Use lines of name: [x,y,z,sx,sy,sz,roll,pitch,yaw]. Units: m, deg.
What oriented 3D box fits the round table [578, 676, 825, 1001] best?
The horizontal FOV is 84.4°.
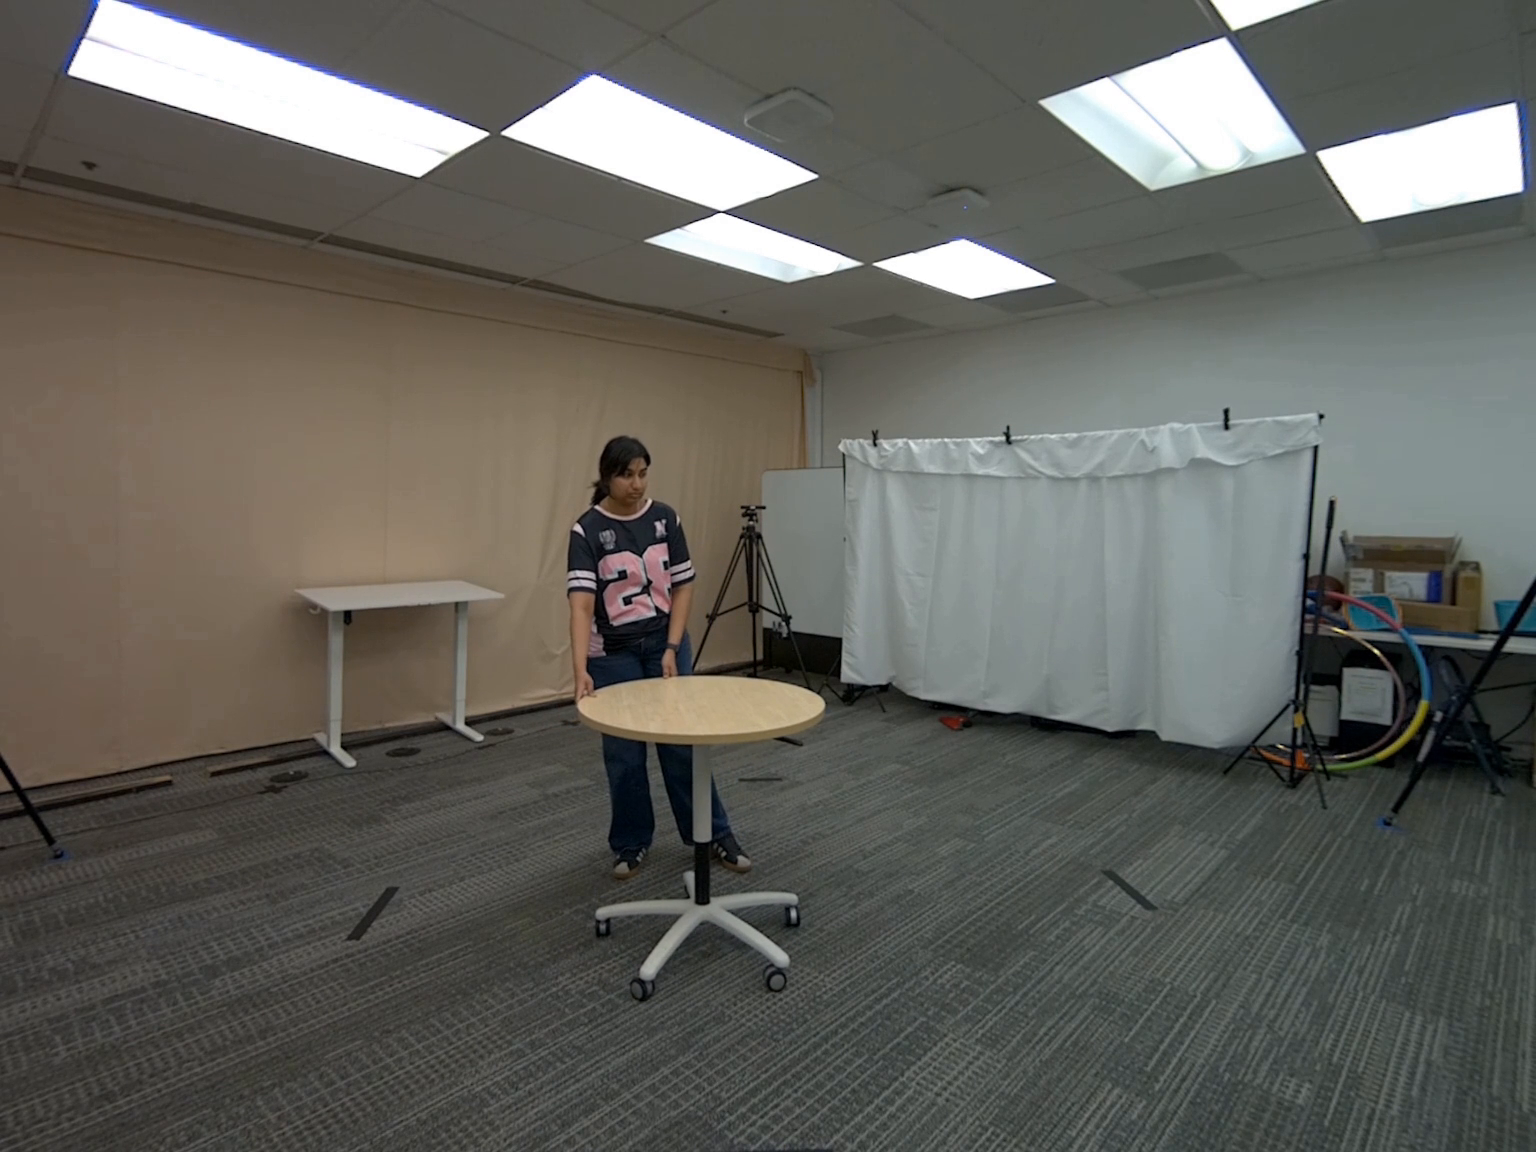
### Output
round table: [-0.206,0.785,2.649,0.763,0.792,0.767,0,4,-2]
